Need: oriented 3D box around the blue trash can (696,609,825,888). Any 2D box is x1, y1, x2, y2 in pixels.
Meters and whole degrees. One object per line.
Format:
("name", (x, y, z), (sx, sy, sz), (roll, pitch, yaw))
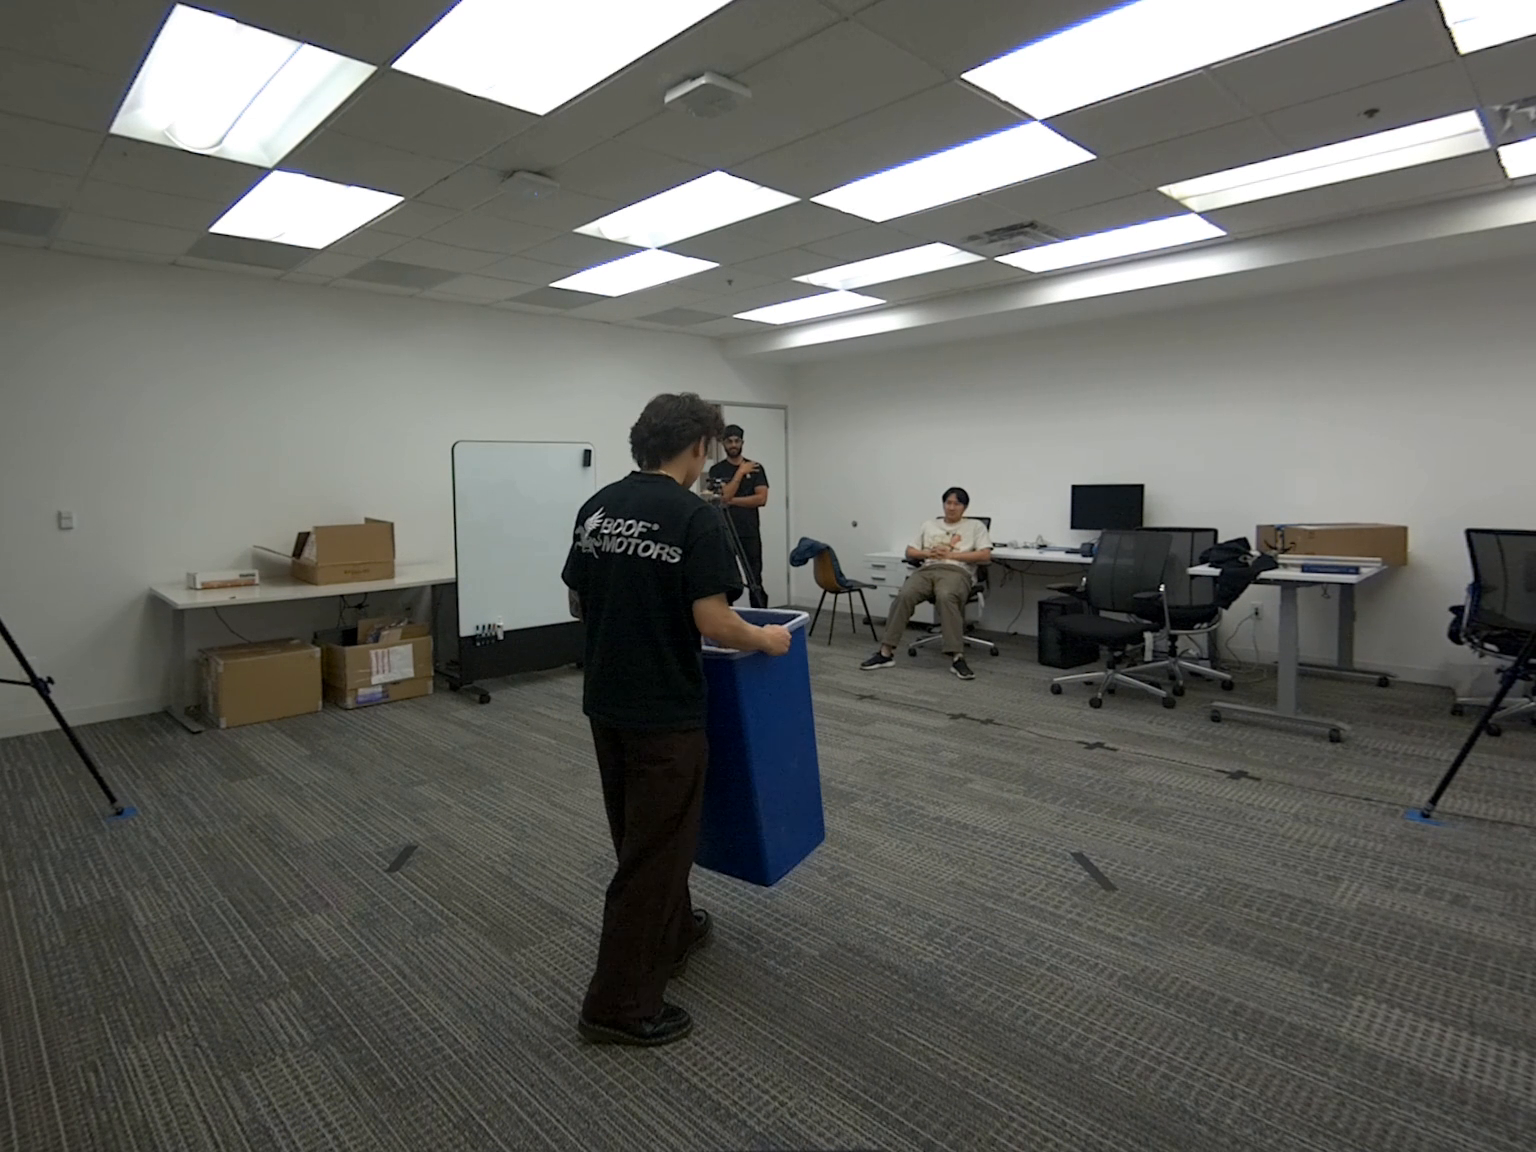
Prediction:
("blue trash can", (-0.061, 0.493, 2.536), (0.385, 0.707, 0.371), (-1, 12, 40))
